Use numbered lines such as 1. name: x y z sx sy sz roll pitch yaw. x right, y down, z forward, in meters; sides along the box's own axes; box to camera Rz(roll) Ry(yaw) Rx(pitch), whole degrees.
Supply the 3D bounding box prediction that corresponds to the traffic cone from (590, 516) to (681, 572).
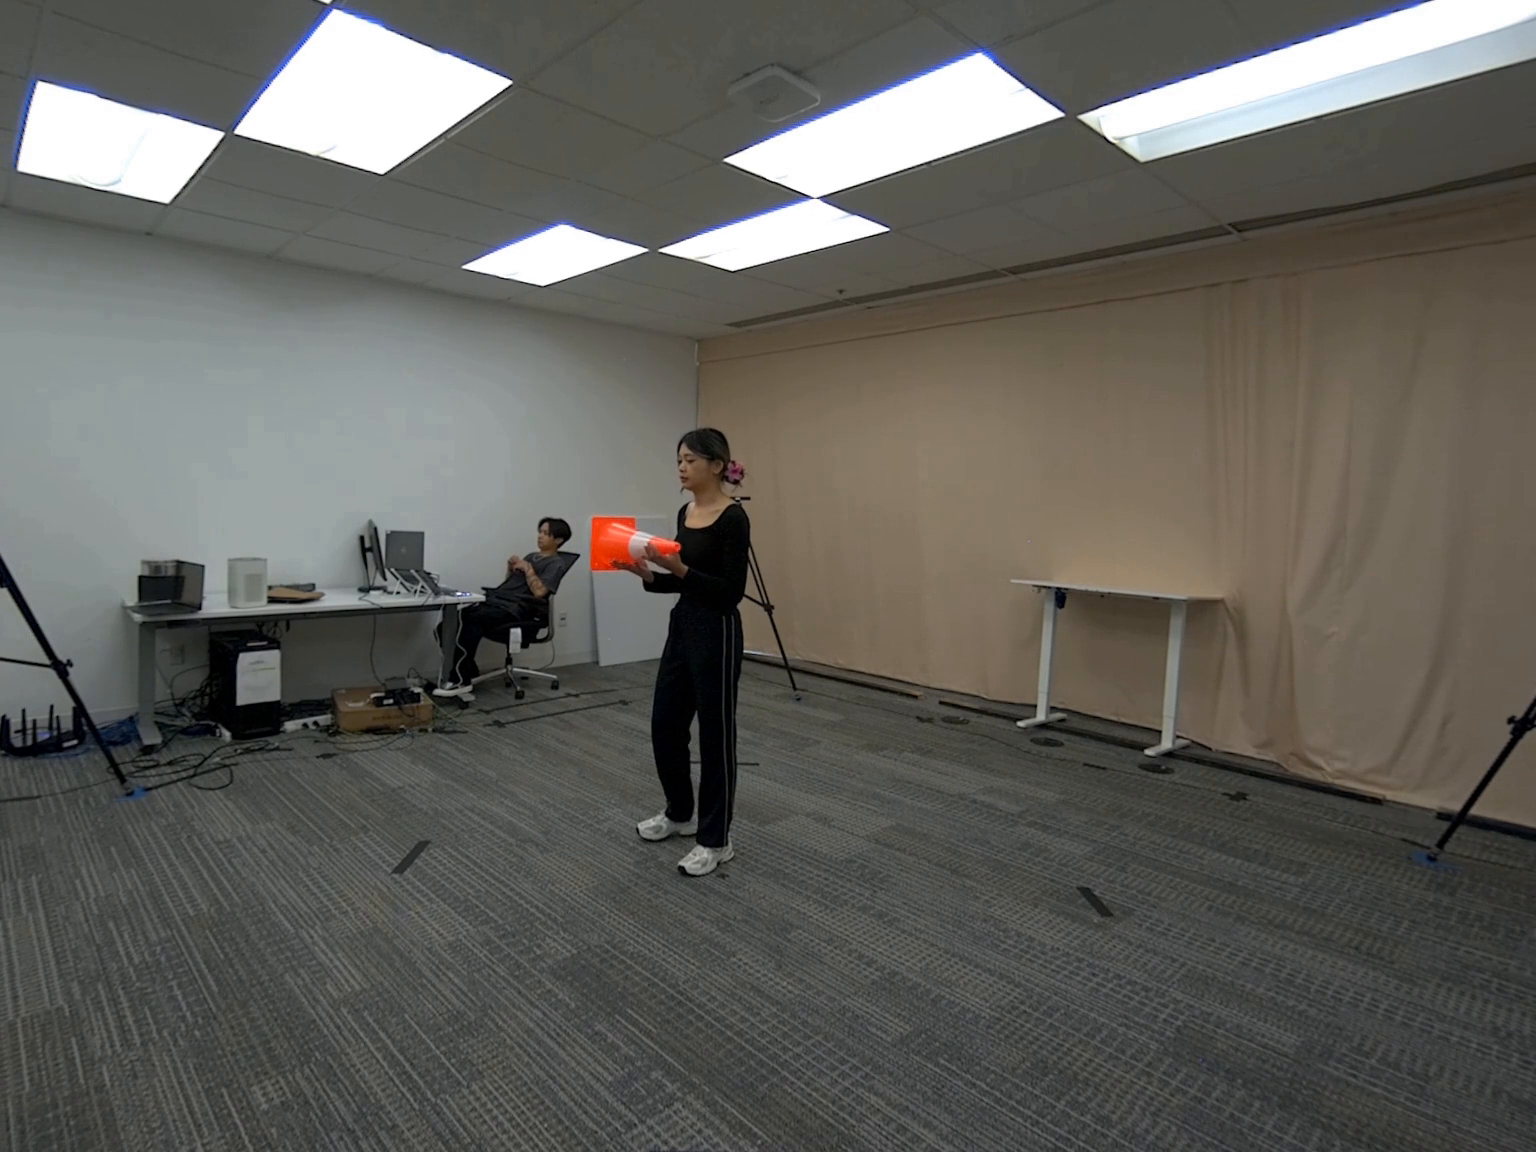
1. traffic cone: -0.438 -0.108 2.960 0.198 0.205 0.393 1 2 -44
